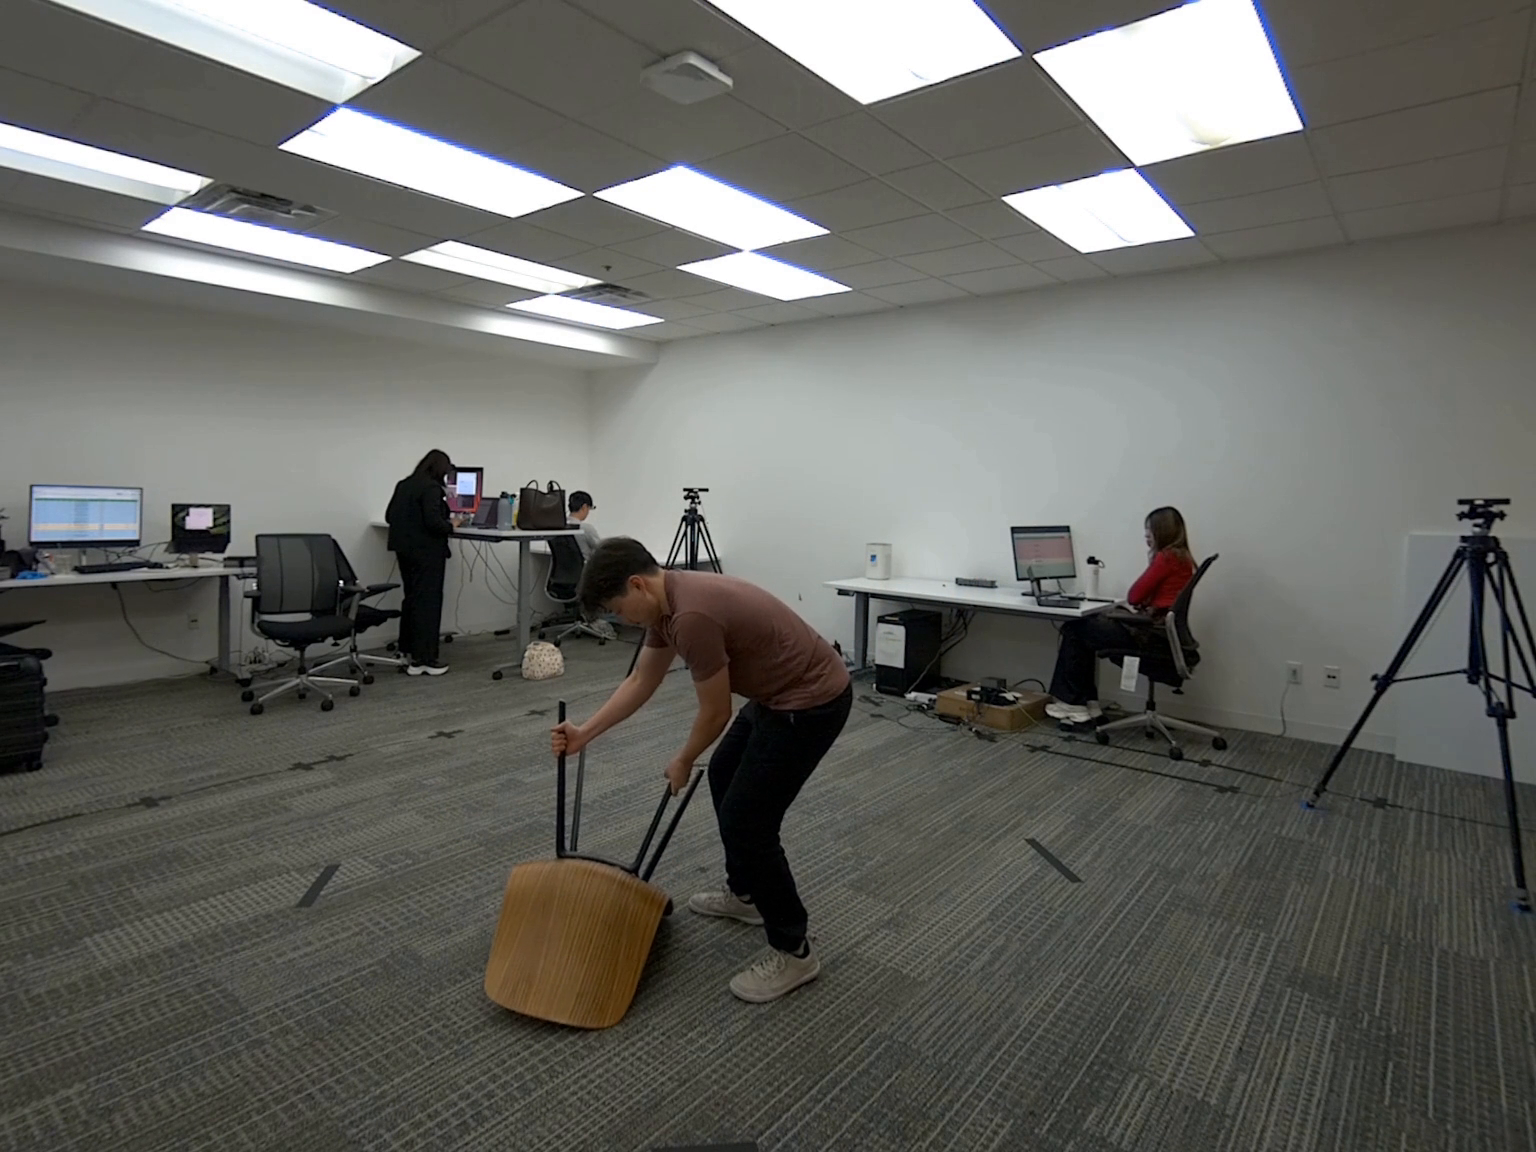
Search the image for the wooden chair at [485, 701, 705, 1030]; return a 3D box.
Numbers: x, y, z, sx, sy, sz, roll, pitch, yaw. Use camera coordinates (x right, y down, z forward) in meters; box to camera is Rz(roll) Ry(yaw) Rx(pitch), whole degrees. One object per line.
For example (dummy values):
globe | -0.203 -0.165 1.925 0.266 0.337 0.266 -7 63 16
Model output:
wooden chair | -0.519 0.910 2.613 0.481 0.895 0.510 8 -33 4
